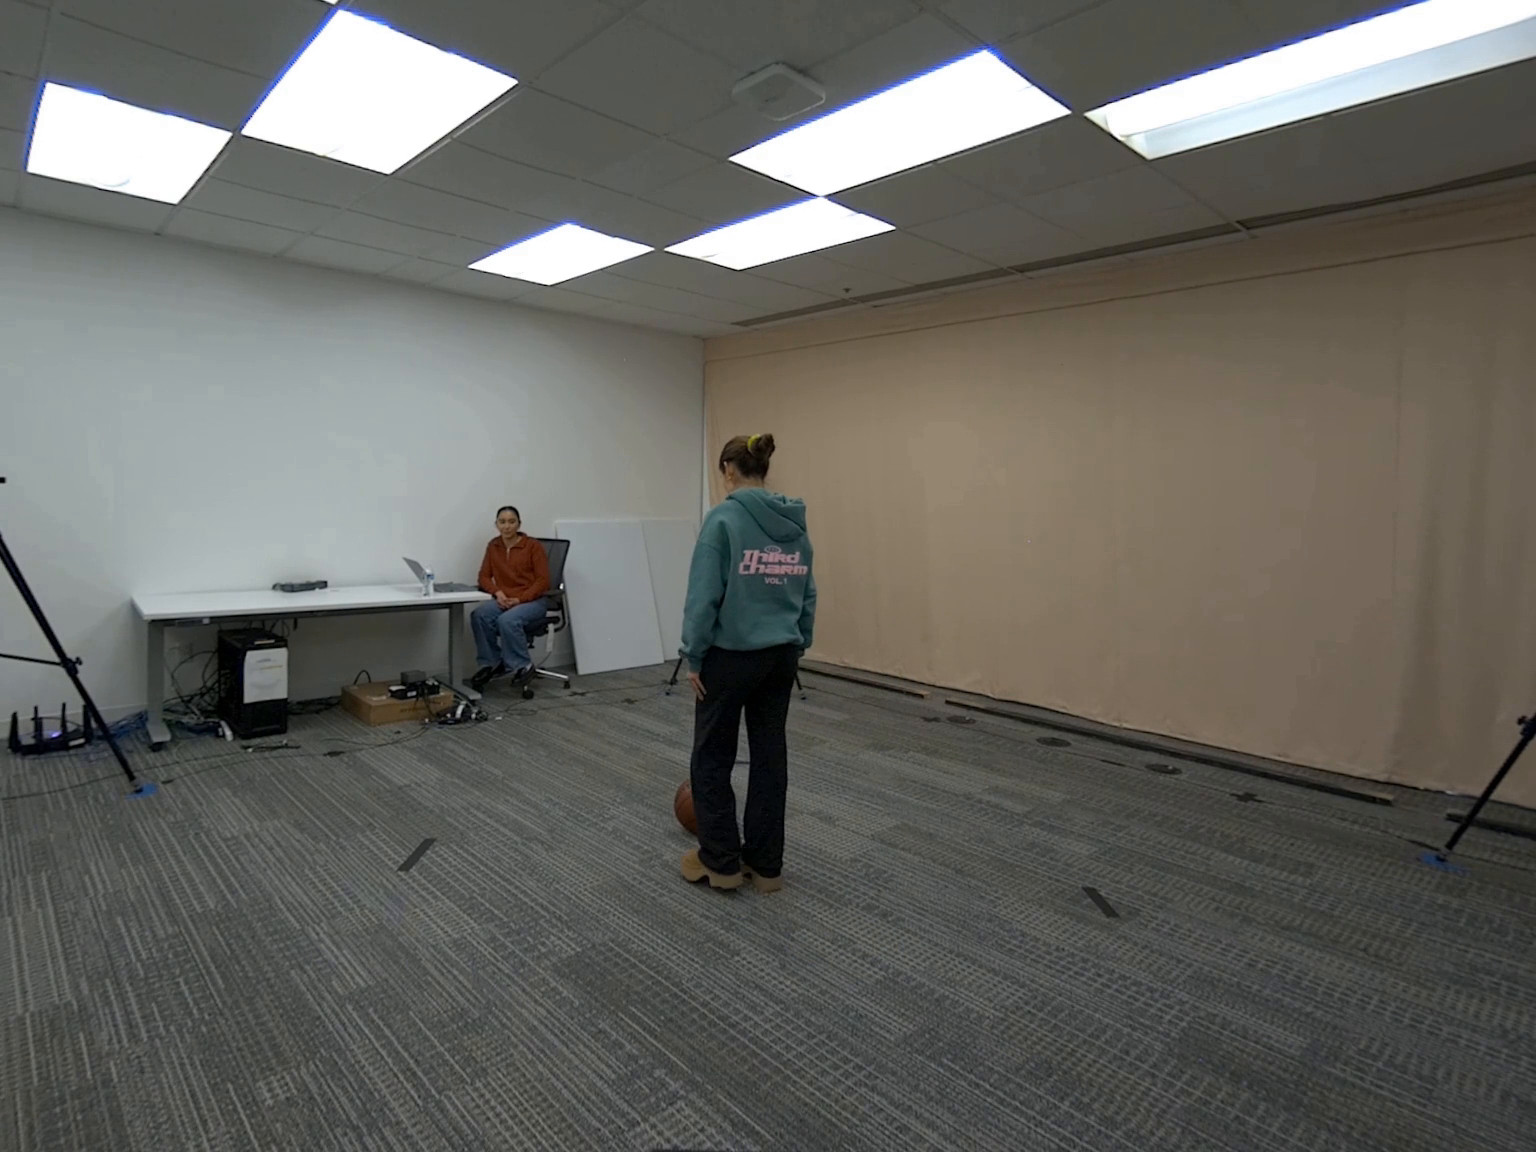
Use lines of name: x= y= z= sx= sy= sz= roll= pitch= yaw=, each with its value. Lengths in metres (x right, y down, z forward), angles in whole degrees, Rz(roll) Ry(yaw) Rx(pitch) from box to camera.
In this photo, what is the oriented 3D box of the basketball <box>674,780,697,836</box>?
basketball: x=-0.279 y=0.945 z=3.487 sx=0.236 sy=0.235 sz=0.237 roll=1 pitch=4 yaw=-1
